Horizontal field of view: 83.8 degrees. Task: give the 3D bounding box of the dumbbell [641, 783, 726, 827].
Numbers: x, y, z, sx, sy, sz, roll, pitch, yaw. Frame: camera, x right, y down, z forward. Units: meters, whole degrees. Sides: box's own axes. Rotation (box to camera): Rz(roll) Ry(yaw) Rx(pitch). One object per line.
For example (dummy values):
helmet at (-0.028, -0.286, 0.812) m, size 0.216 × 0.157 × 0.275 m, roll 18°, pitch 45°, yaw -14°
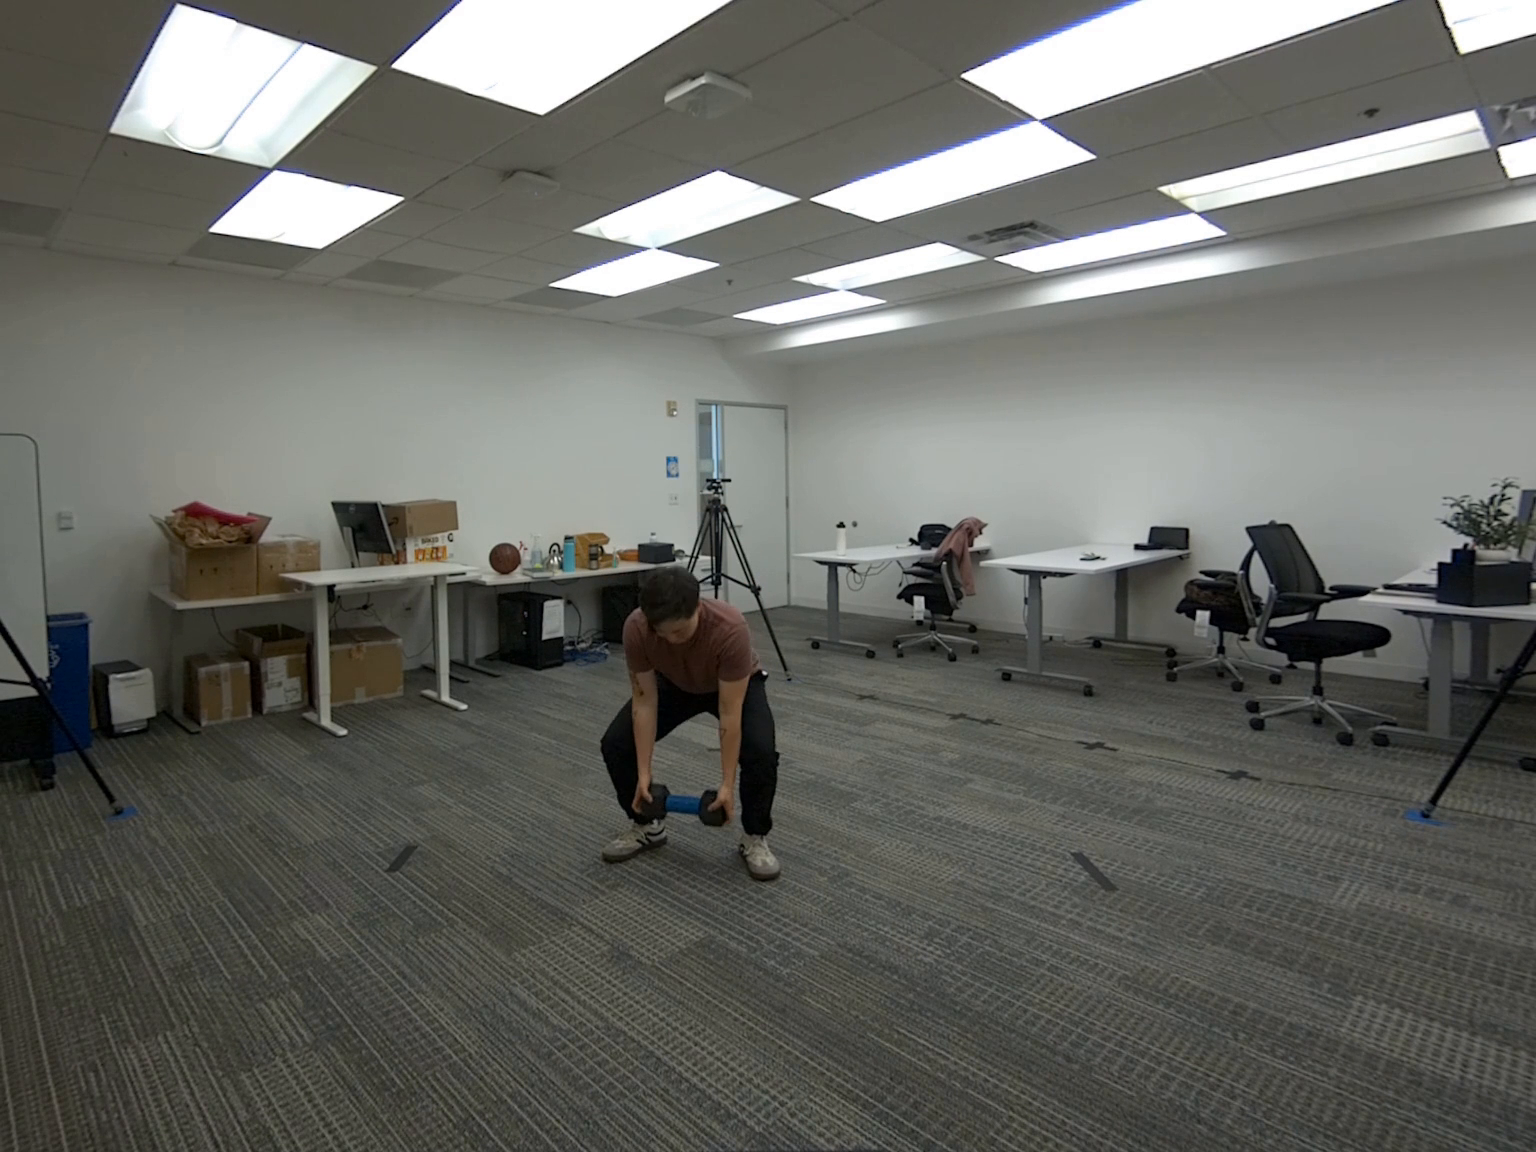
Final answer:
dumbbell at (-0.286, 0.793, 2.983) m, size 0.297 × 0.106 × 0.124 m, roll 0°, pitch 27°, yaw 13°
